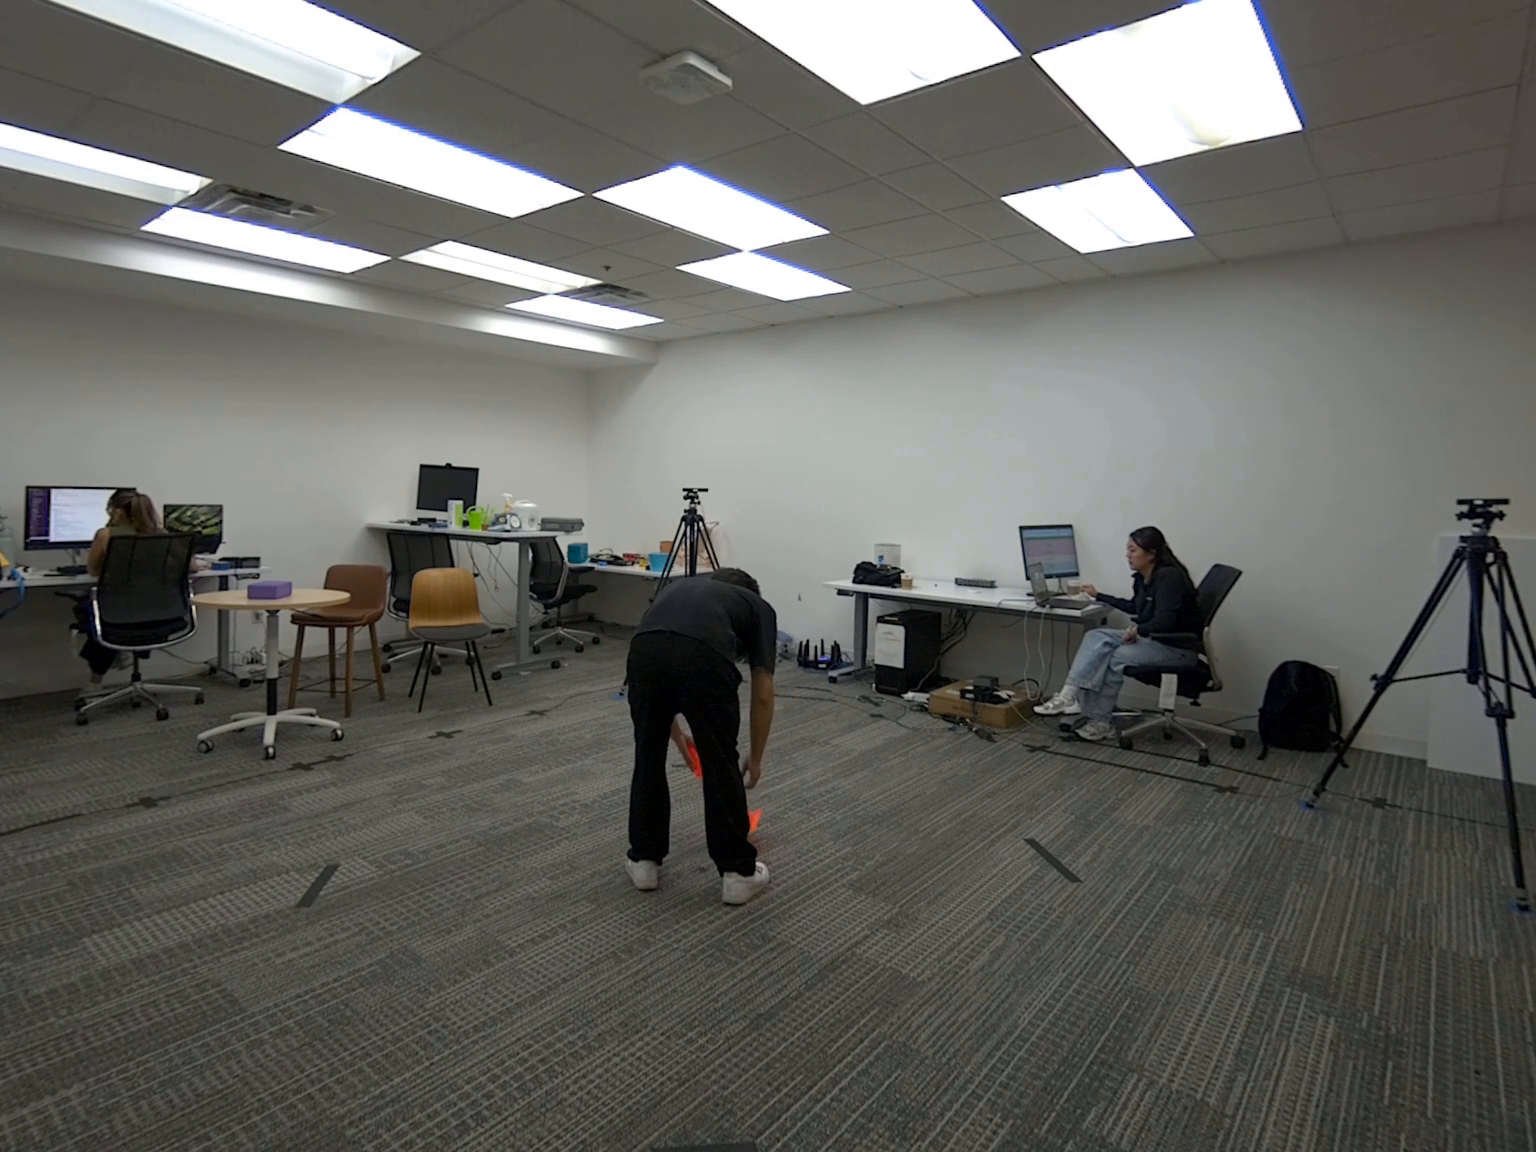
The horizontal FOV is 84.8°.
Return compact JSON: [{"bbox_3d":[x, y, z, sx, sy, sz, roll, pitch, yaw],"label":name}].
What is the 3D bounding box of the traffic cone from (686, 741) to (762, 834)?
[{"bbox_3d":[-0.220,0.832,3.361,0.205,0.384,0.203,-28,0,4],"label":"traffic cone"}]
